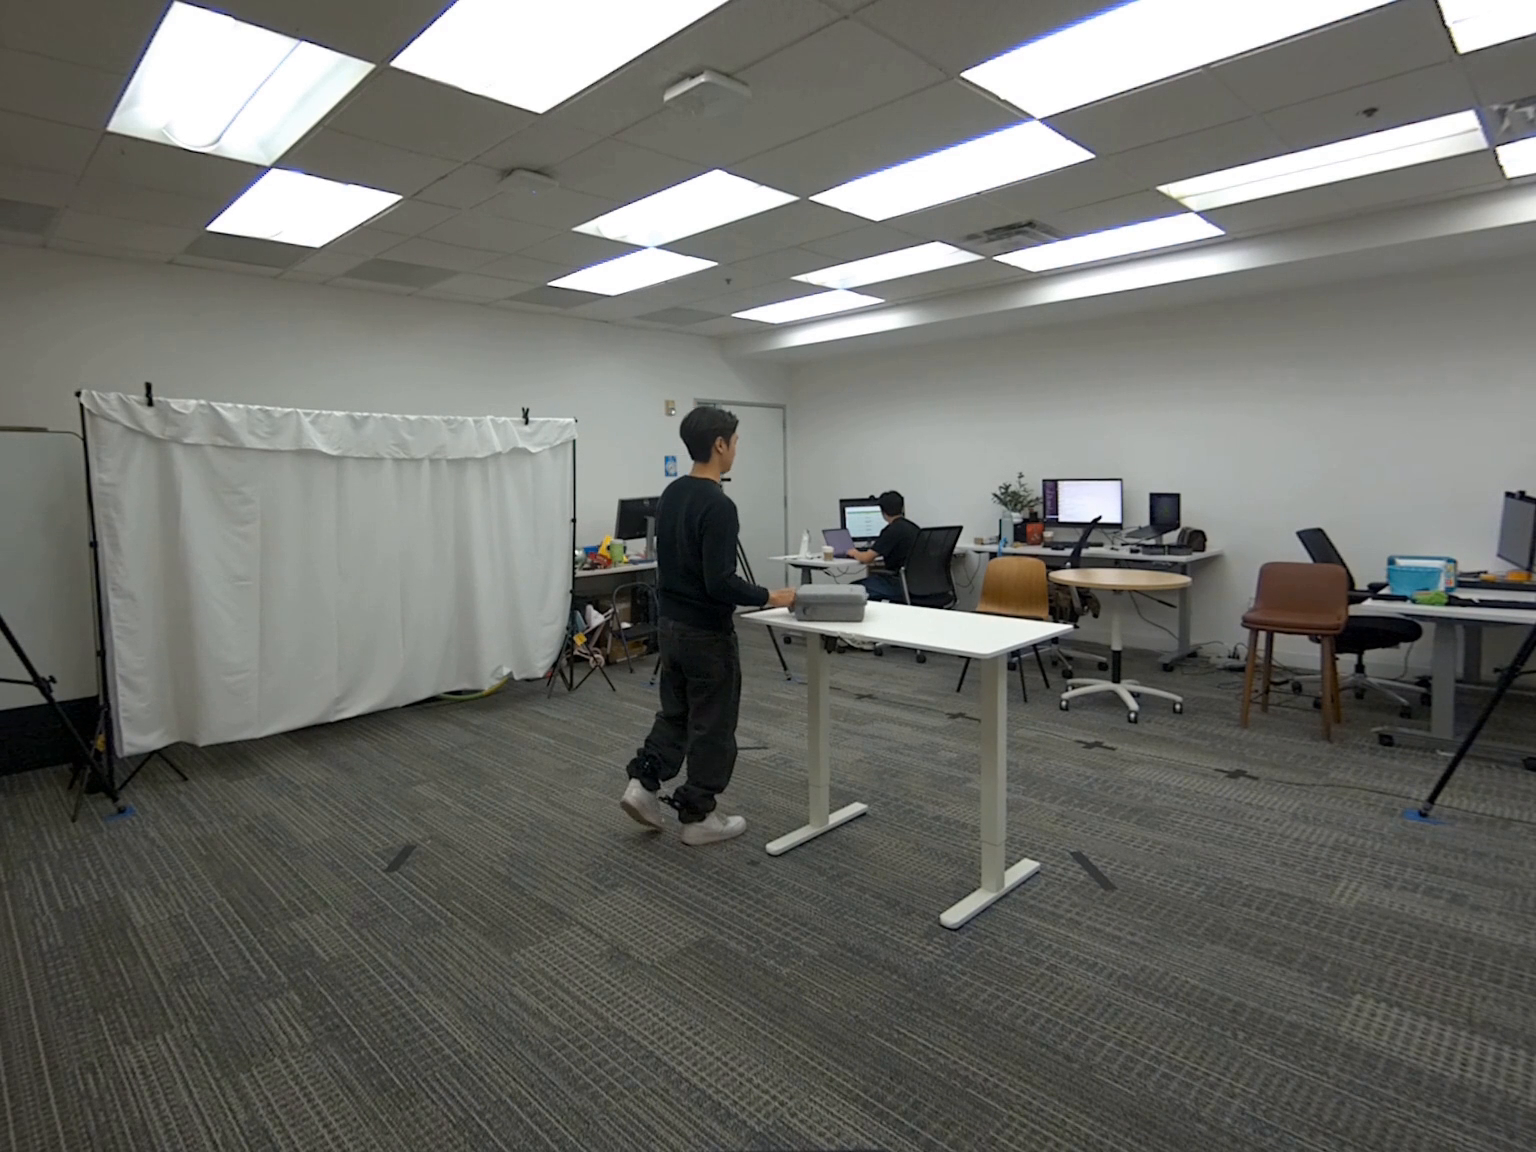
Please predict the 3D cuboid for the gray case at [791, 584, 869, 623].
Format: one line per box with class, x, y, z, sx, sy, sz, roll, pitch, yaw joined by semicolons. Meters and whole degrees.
gray case;0.233;0.095;3.132;0.263;0.104;0.256;0;8;9
